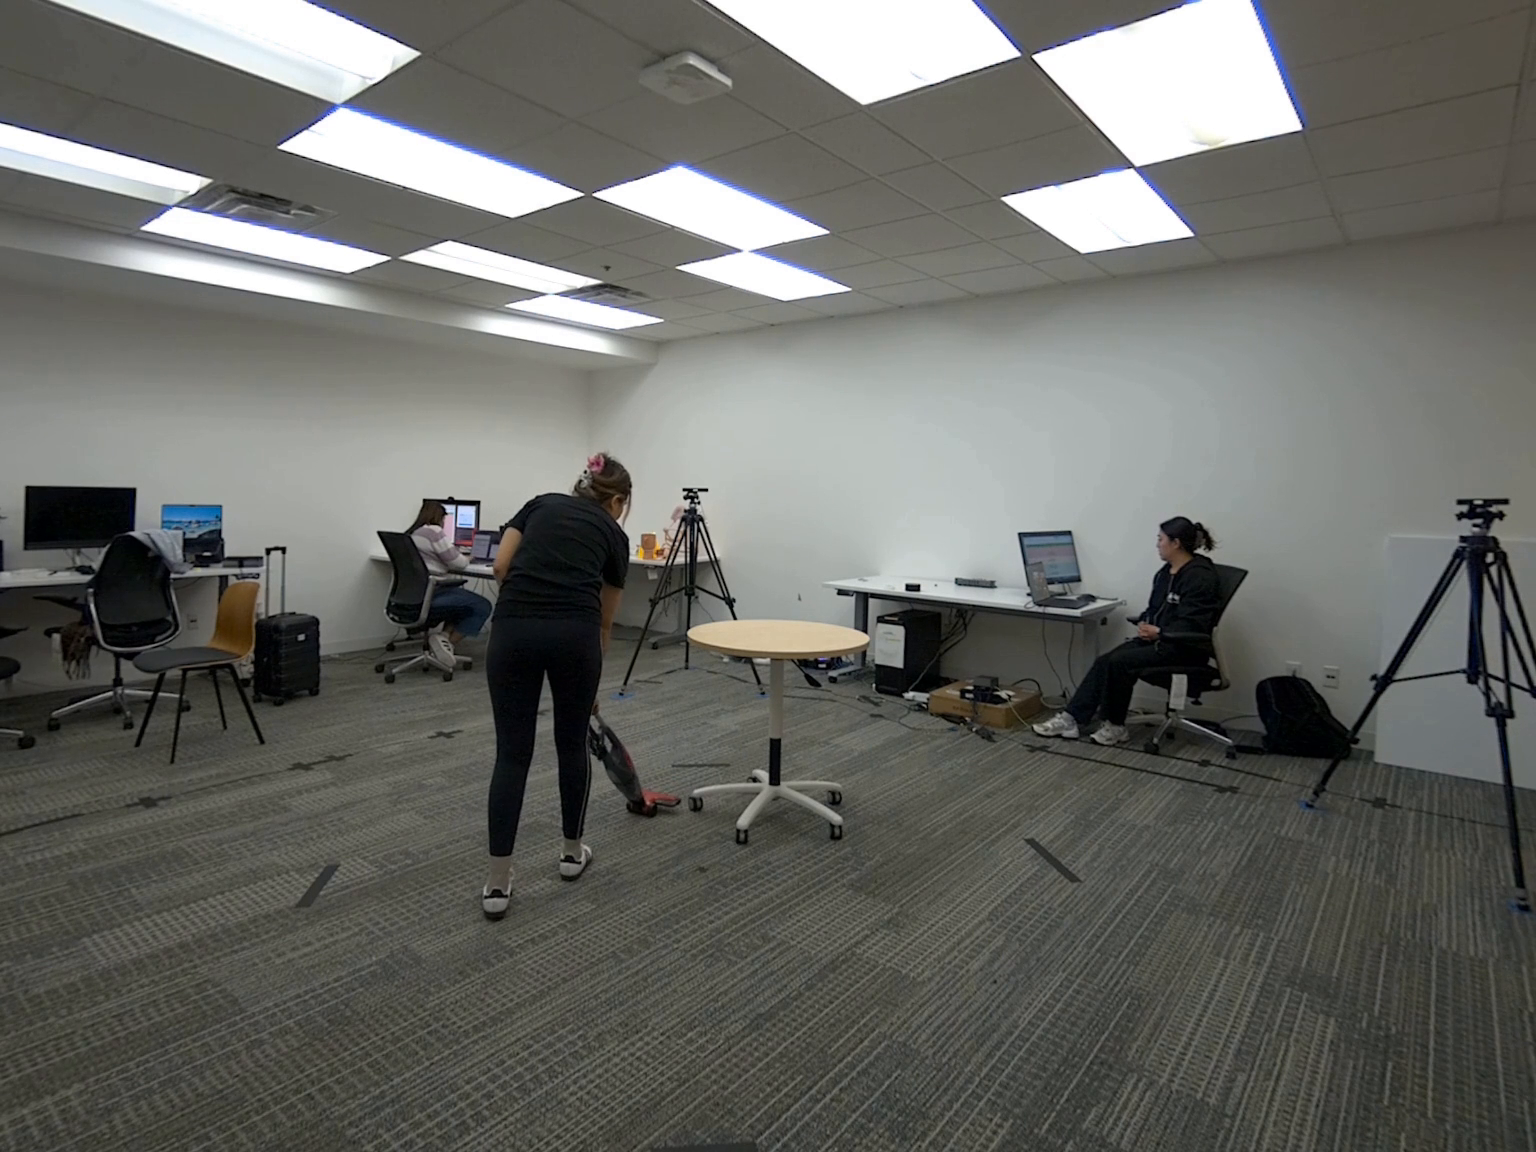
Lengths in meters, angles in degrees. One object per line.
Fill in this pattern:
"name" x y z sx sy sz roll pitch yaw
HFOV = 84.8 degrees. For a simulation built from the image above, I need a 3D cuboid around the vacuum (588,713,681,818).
"vacuum" -0.684 0.626 3.373 0.259 1.010 0.145 1 44 27
